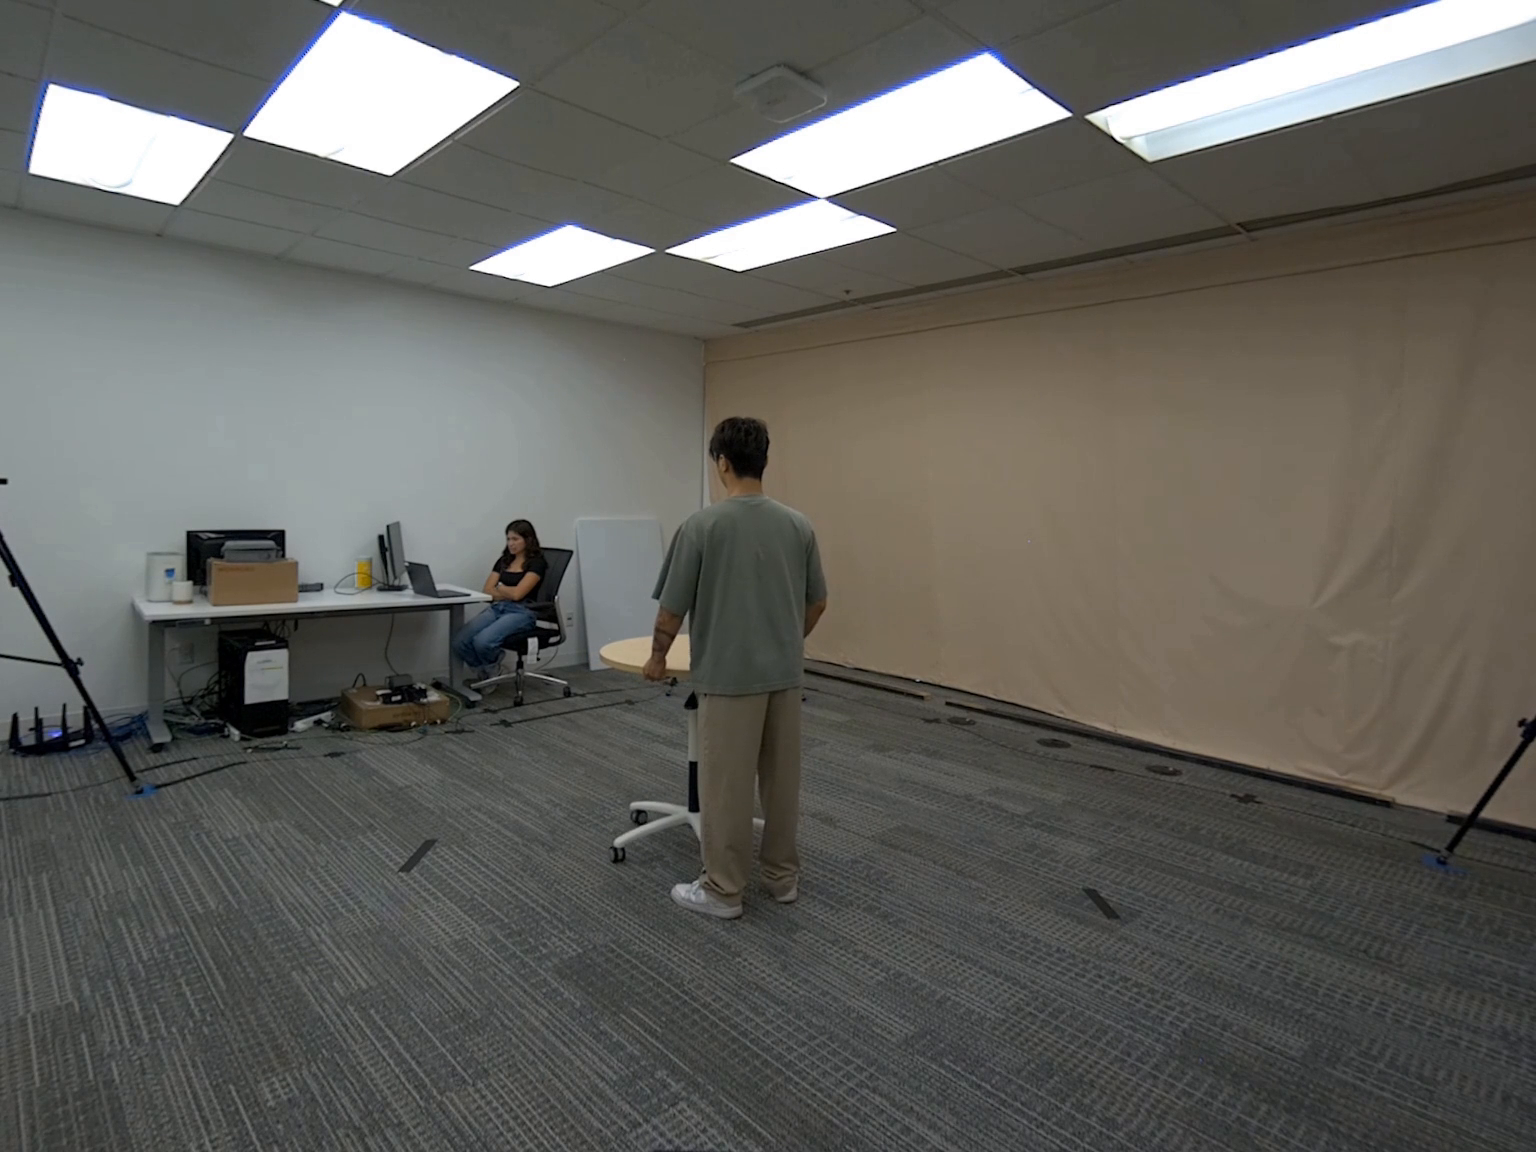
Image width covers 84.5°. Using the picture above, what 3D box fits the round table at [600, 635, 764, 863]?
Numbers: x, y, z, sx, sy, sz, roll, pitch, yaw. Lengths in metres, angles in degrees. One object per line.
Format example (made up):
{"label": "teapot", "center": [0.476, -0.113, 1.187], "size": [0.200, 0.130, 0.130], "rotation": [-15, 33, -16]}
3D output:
{"label": "round table", "center": [-0.289, 0.687, 3.369], "size": [0.784, 0.784, 0.788], "rotation": [1, 4, -1]}
